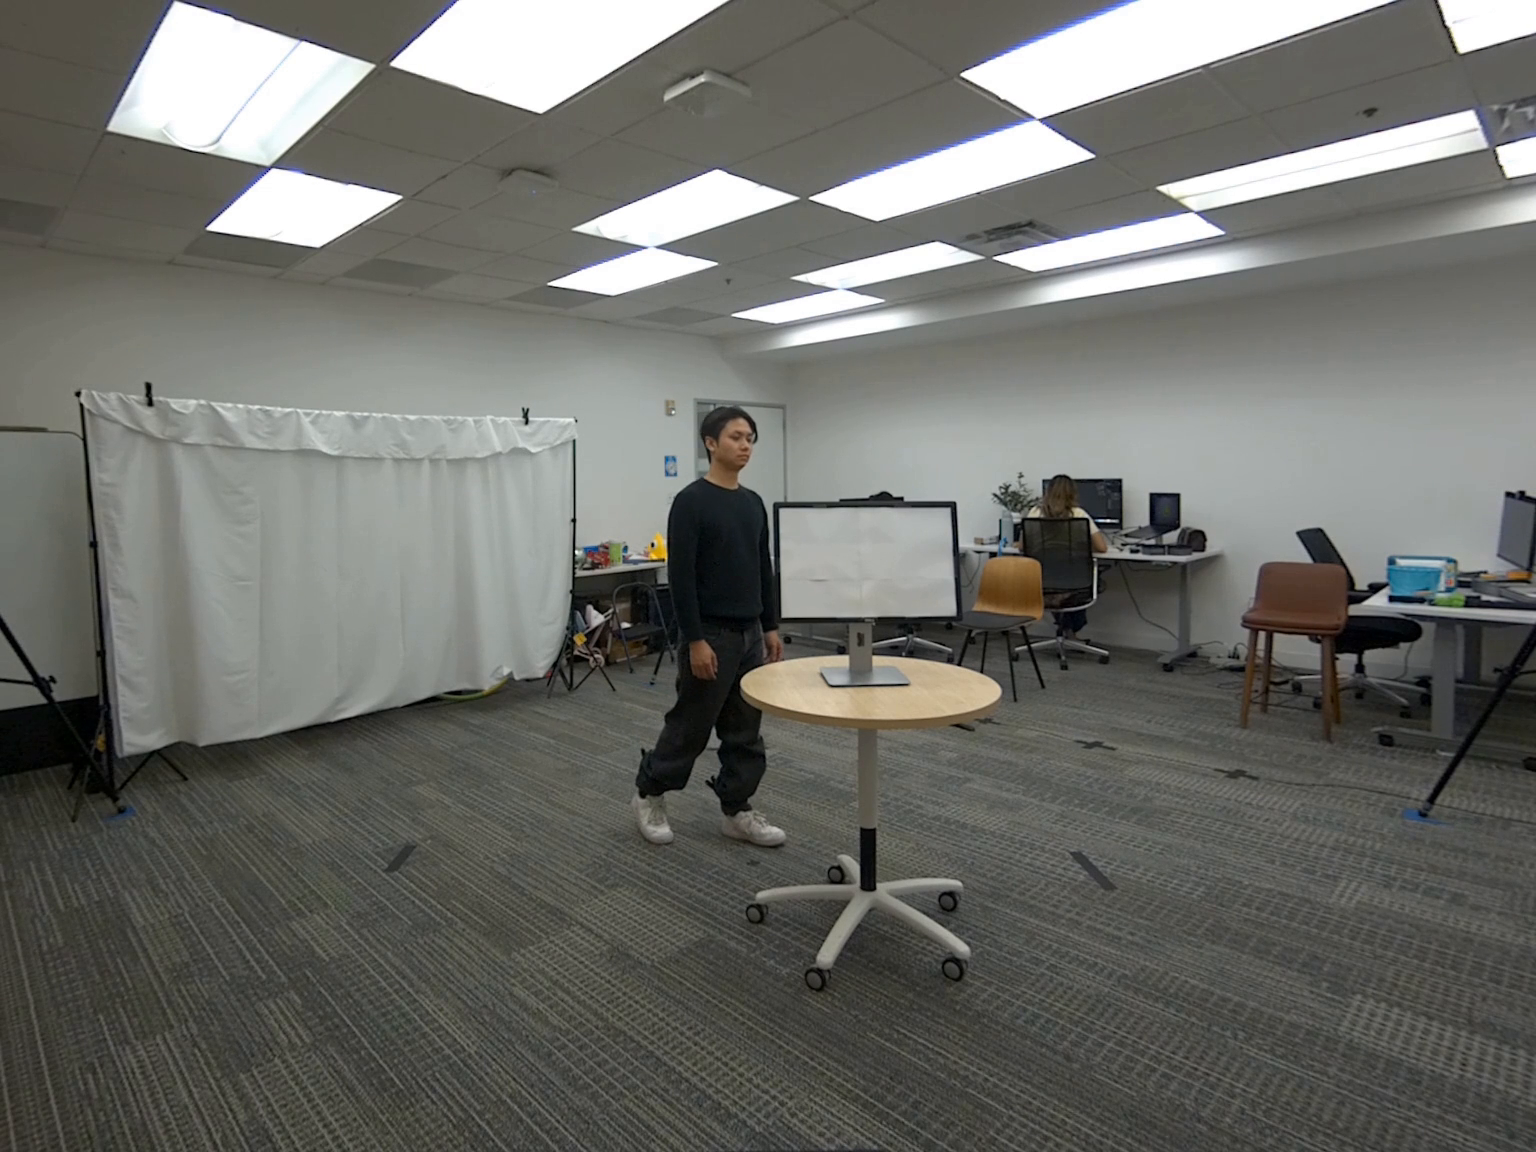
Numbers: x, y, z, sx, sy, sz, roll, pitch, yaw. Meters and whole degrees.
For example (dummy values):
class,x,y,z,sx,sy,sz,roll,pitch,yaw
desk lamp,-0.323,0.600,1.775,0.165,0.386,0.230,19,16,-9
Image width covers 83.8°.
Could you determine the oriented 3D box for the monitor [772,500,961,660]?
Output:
class,x,y,z,sx,sy,sz,roll,pitch,yaw
monitor,0.293,0.048,2.599,0.529,0.512,0.176,0,8,-2
